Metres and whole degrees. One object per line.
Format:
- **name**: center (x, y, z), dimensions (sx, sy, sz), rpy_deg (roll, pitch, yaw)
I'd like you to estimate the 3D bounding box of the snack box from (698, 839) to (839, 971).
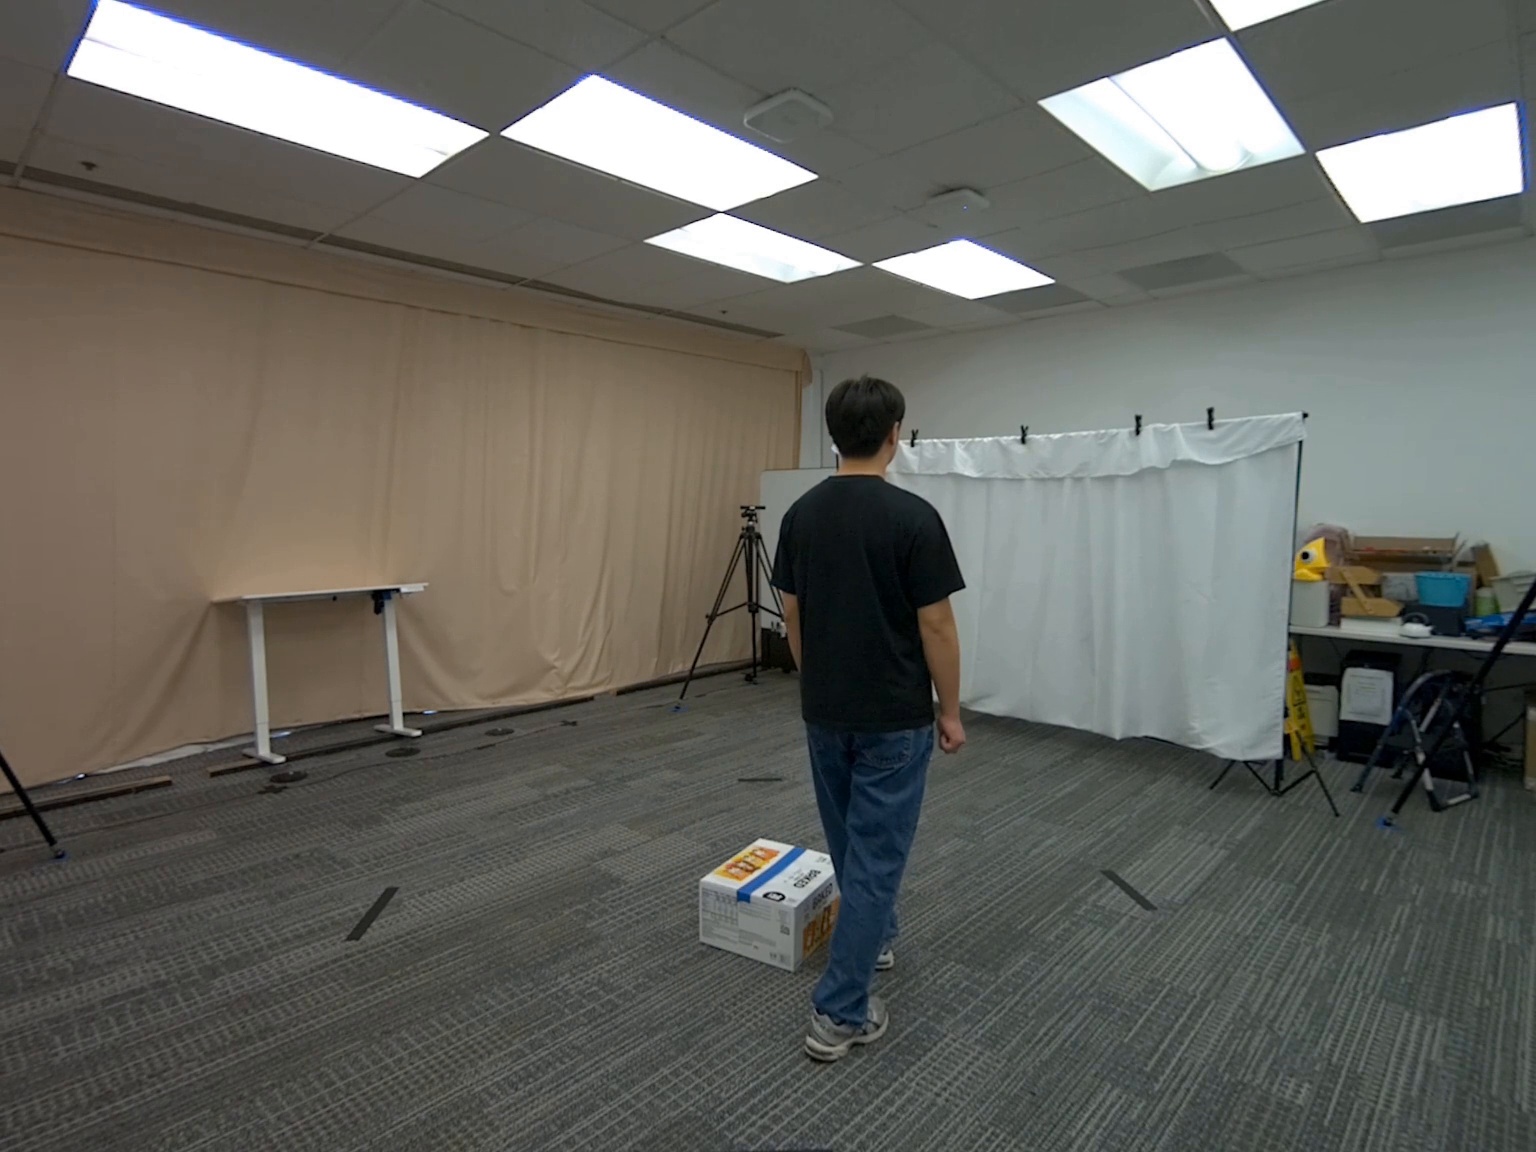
- **snack box**: center (0.029, 1.061, 2.754), dimensions (0.350, 0.205, 0.394), rpy_deg (2, 5, 30)
